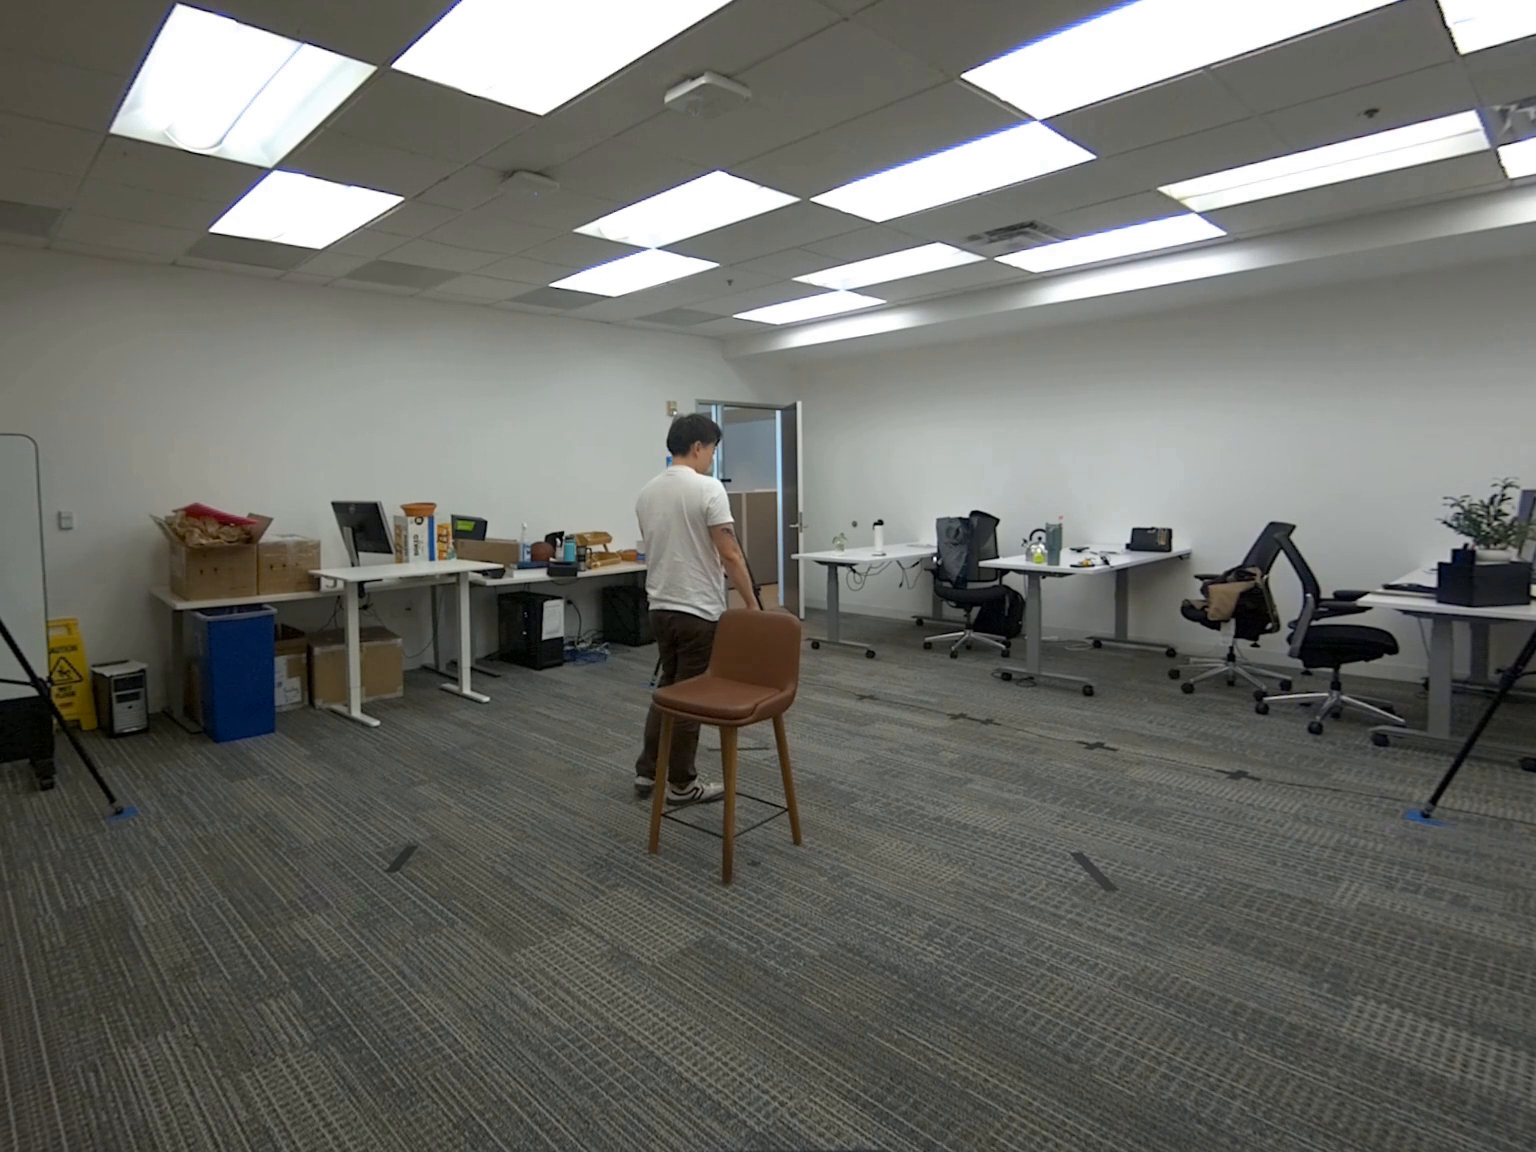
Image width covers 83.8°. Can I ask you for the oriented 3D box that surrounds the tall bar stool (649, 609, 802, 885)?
[{"bbox_3d":[-0.150,0.596,3.212,0.470,0.888,0.455,3,4,41],"label":"tall bar stool"}]
